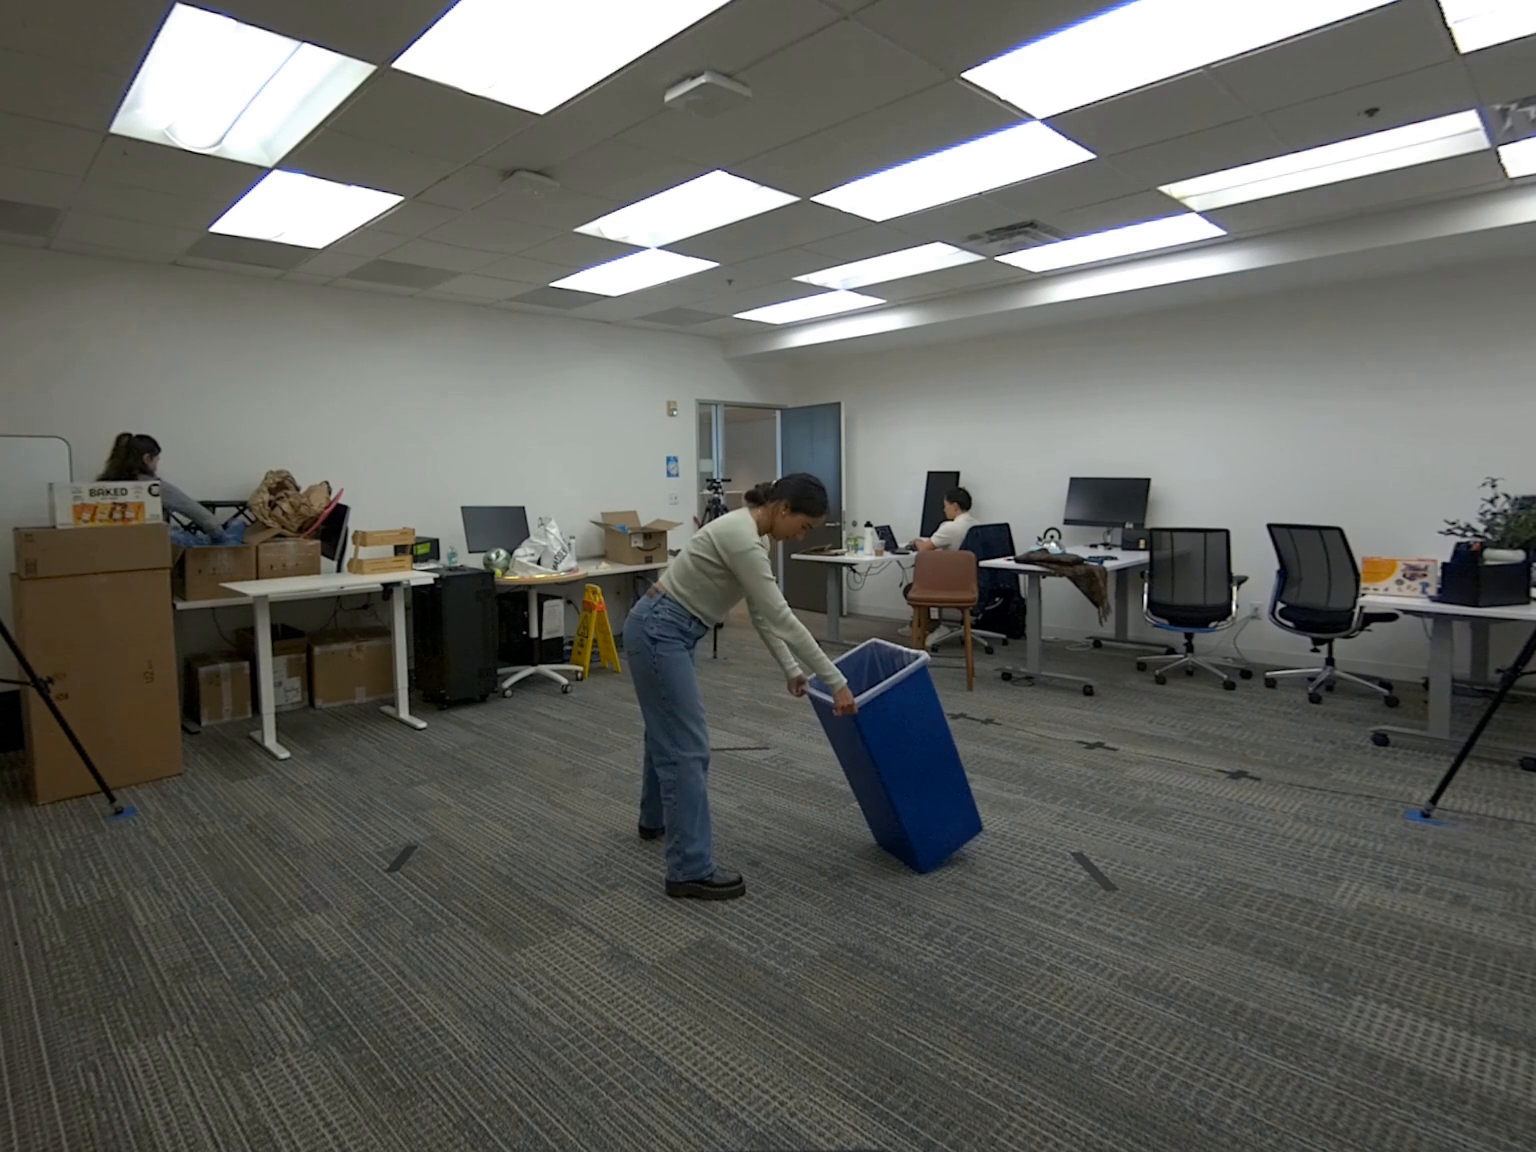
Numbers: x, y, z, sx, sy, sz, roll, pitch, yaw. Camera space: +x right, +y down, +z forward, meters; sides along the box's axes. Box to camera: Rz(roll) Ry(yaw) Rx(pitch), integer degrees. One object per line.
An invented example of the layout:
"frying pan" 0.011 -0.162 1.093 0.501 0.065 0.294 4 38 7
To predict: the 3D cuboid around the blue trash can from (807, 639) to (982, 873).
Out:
"blue trash can" 0.452 0.651 3.090 0.370 0.704 0.387 -27 13 -22
